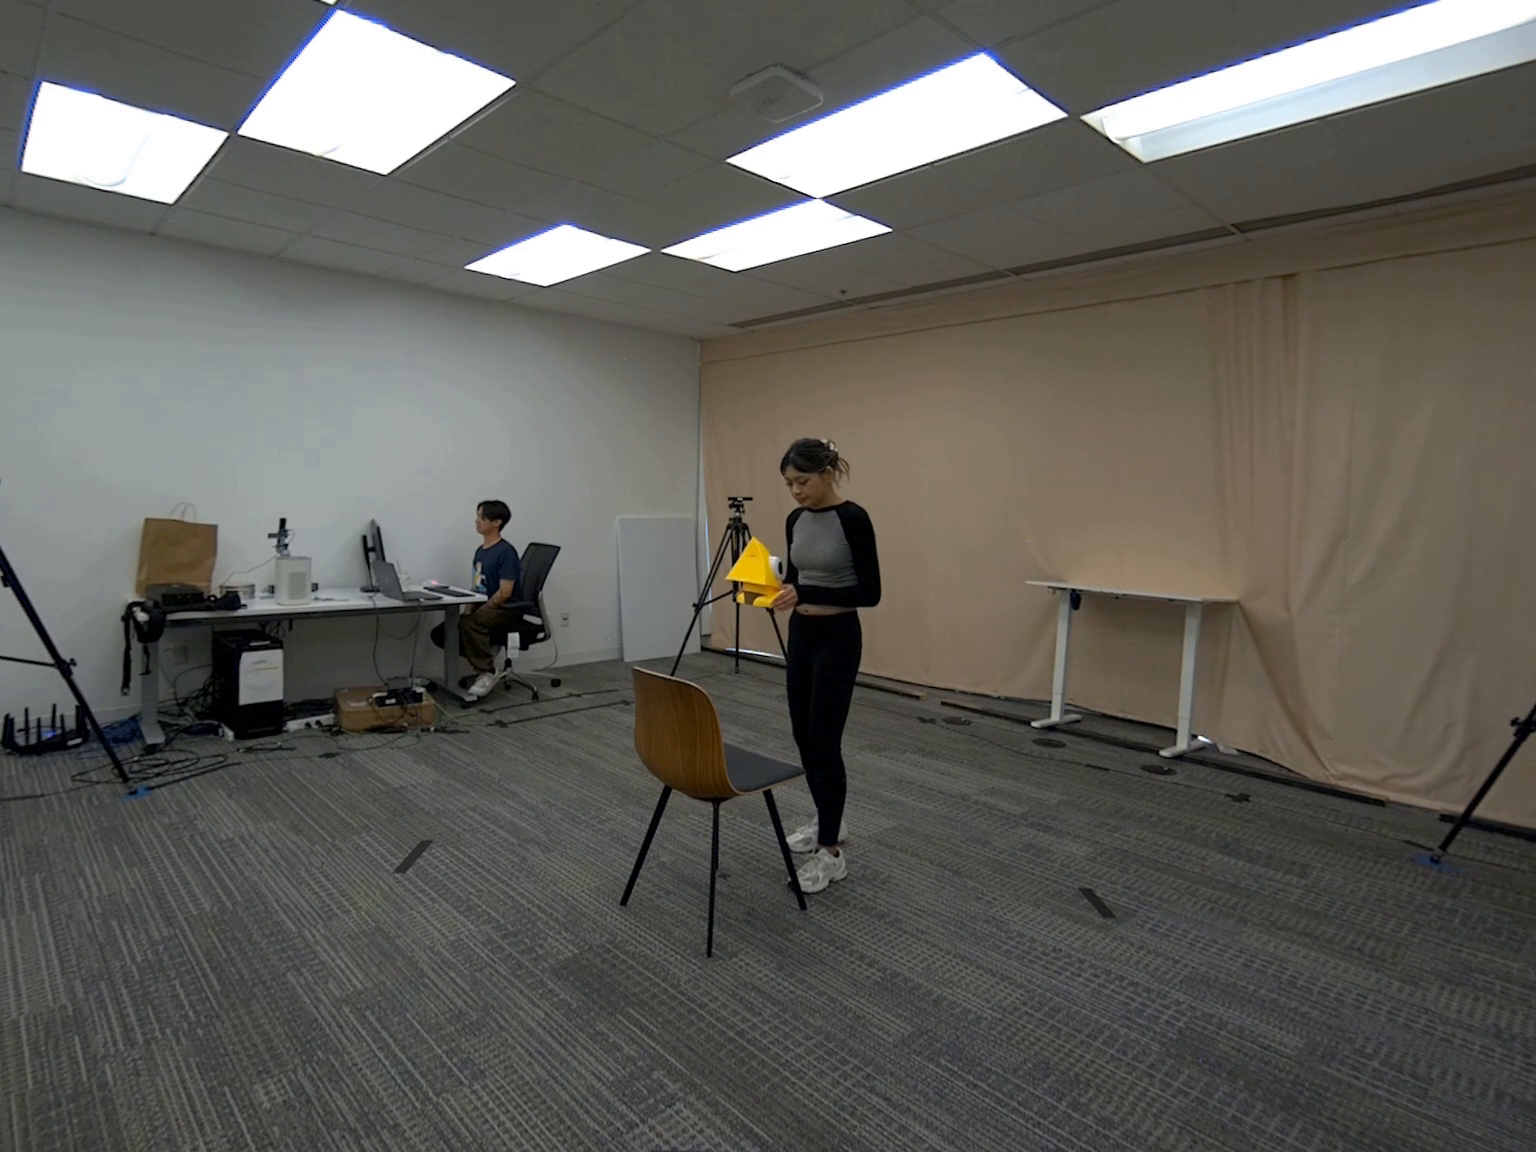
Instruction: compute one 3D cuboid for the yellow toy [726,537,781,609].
[{"bbox_3d":[-0.014,-0.017,2.920,0.188,0.230,0.210,-1,4,-42],"label":"yellow toy"}]
